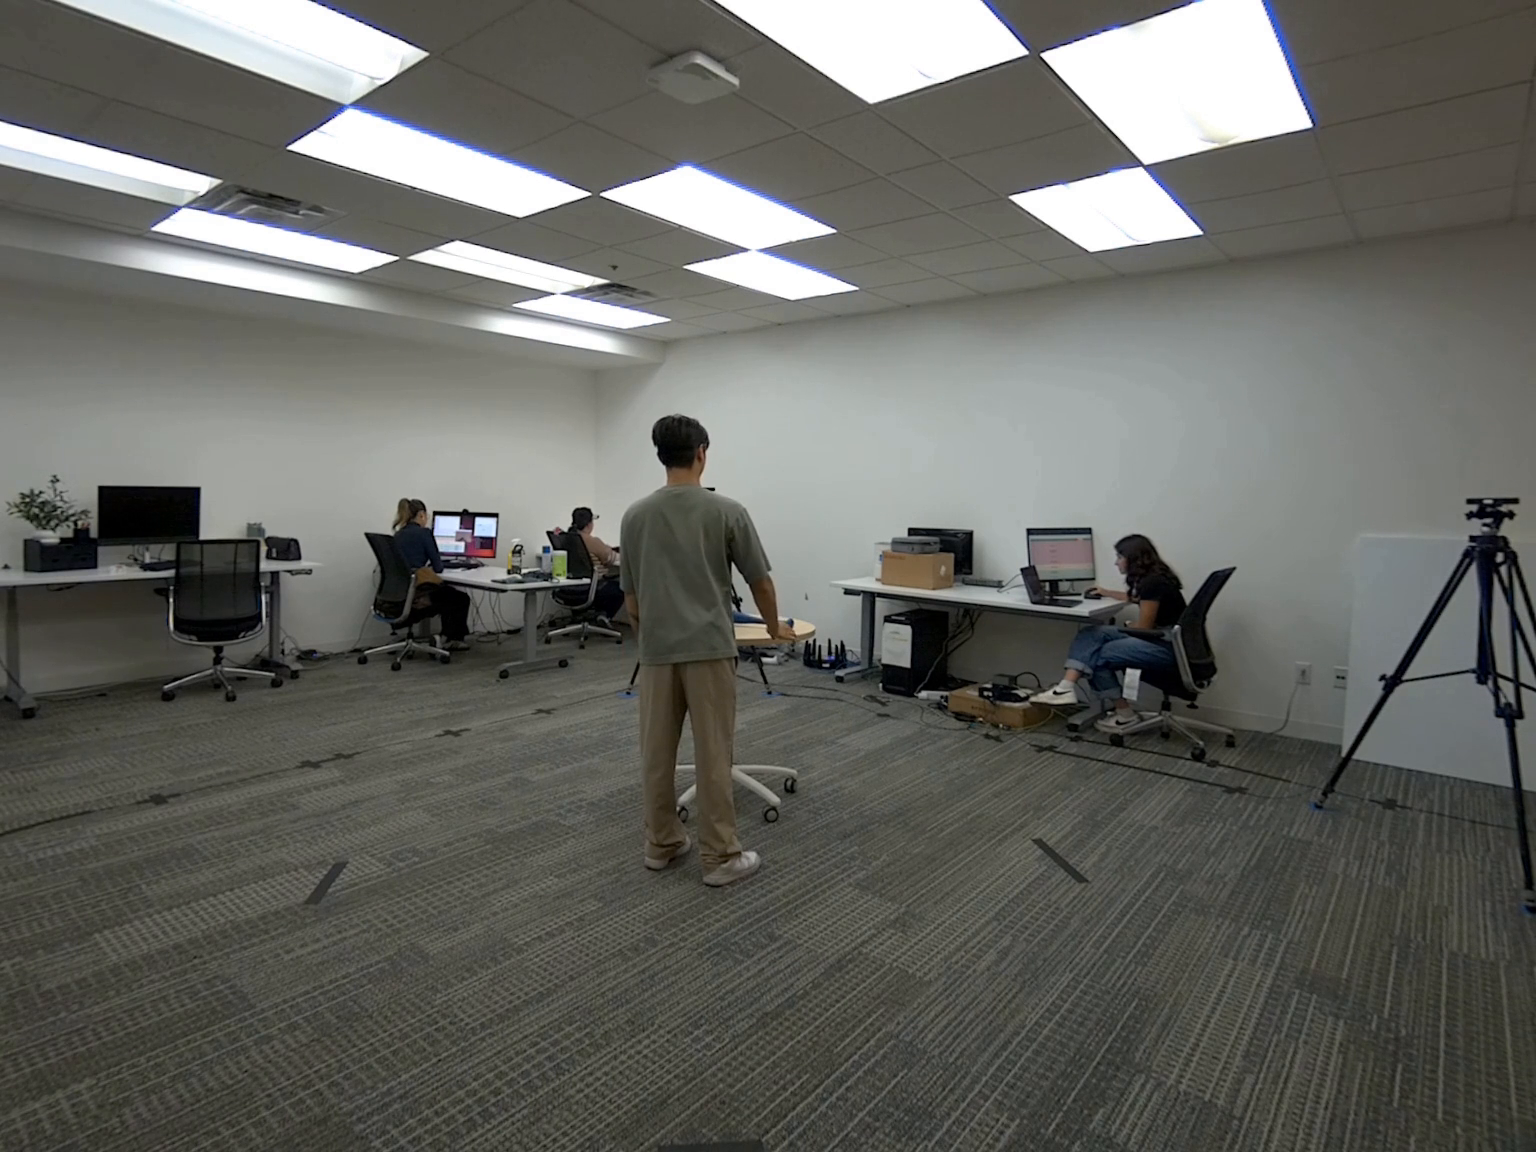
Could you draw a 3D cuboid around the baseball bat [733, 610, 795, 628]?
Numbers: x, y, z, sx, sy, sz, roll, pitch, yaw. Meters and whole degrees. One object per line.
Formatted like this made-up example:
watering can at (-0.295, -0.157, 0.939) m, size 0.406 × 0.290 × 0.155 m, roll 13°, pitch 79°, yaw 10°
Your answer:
baseball bat at (-0.153, 0.180, 3.776) m, size 0.556 × 0.089 × 0.087 m, roll 6°, pitch 6°, yaw 22°
